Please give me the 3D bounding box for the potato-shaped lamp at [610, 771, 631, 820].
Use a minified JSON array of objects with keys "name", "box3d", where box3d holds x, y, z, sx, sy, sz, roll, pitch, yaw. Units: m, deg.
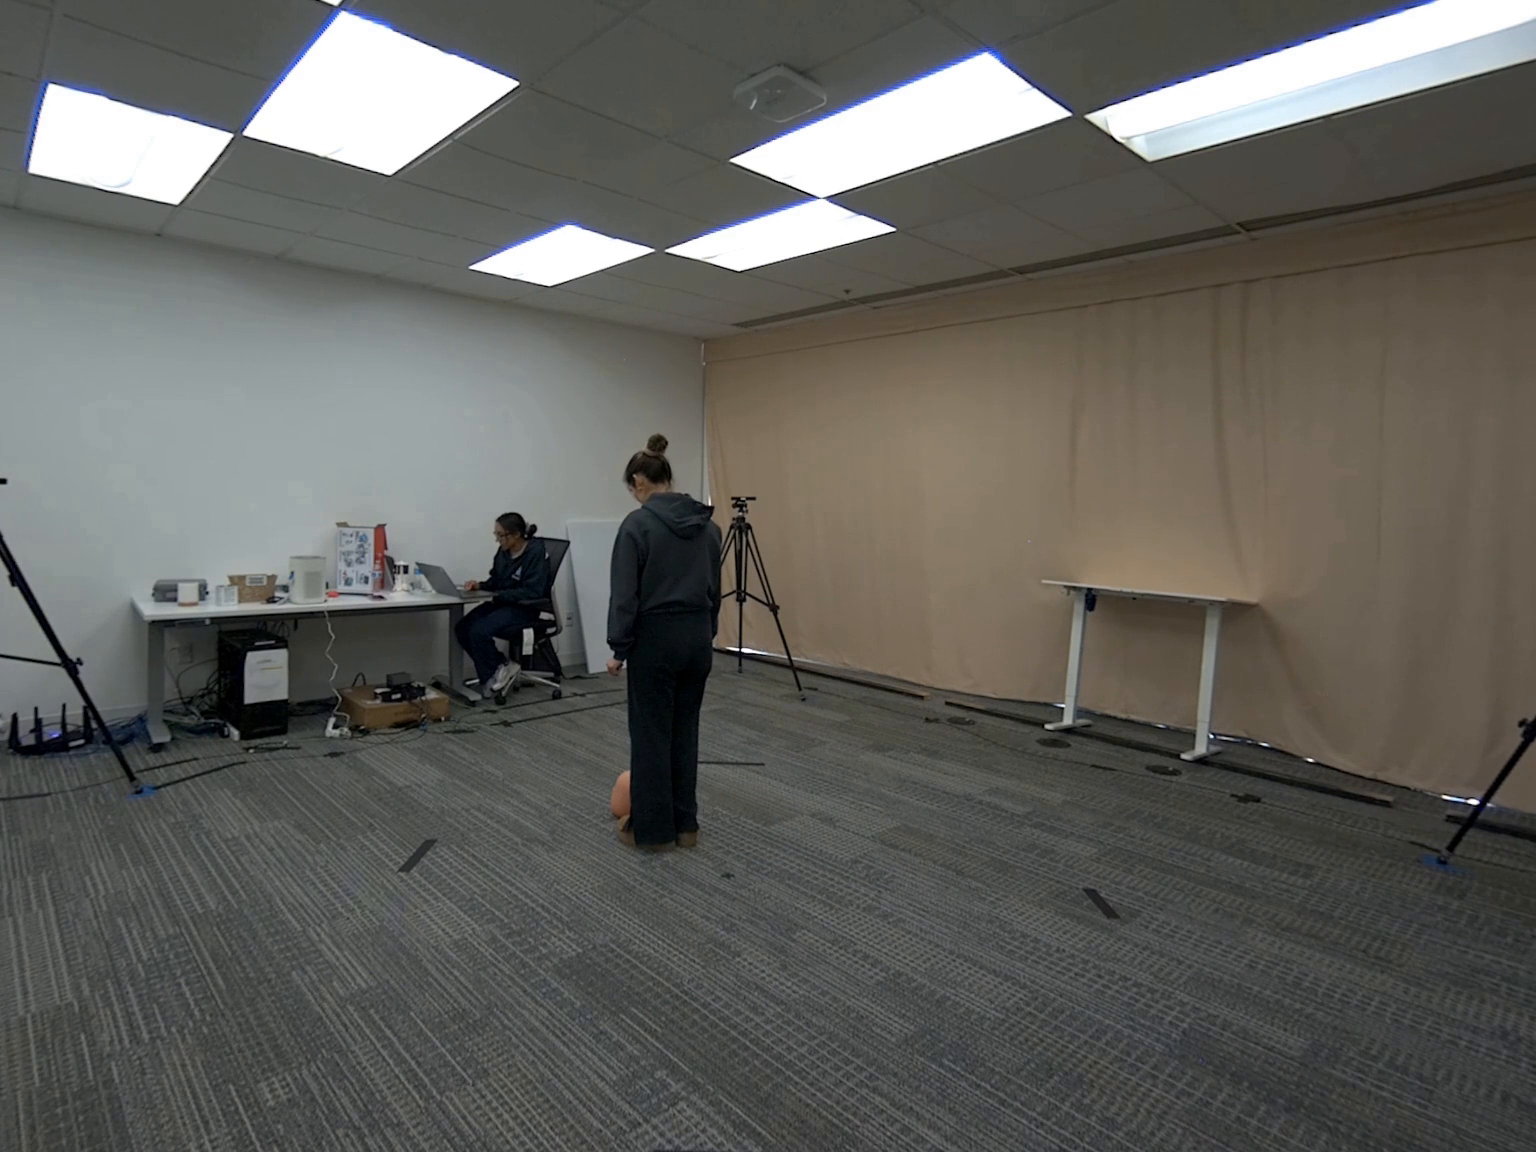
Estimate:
[{"name":"potato-shaped lamp","box3d":[-0.616,0.946,3.677,0.161,0.197,0.176,-2,9,-35]}]
